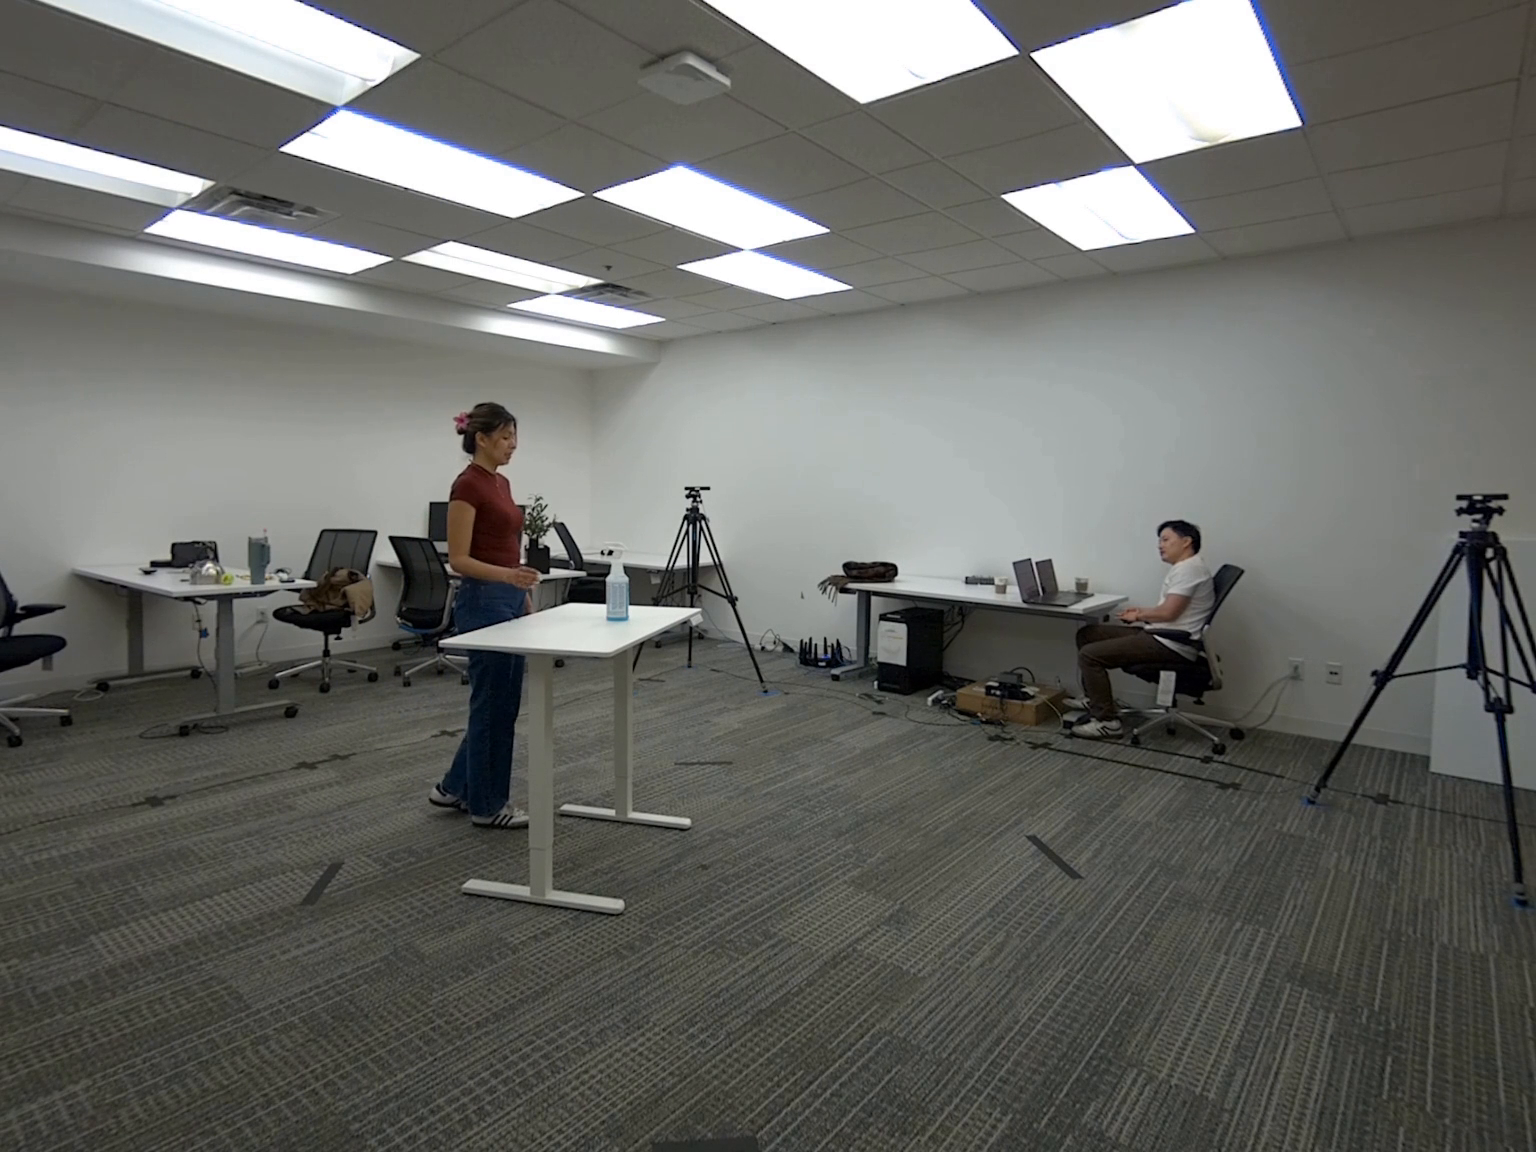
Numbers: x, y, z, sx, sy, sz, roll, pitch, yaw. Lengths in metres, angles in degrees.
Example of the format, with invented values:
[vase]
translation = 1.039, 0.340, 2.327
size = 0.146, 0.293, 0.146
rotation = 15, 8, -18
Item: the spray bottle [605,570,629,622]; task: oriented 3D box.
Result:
[spray bottle]
translation = -0.589, 0.020, 3.243
size = 0.092, 0.297, 0.085
rotation = -1, 1, 22
